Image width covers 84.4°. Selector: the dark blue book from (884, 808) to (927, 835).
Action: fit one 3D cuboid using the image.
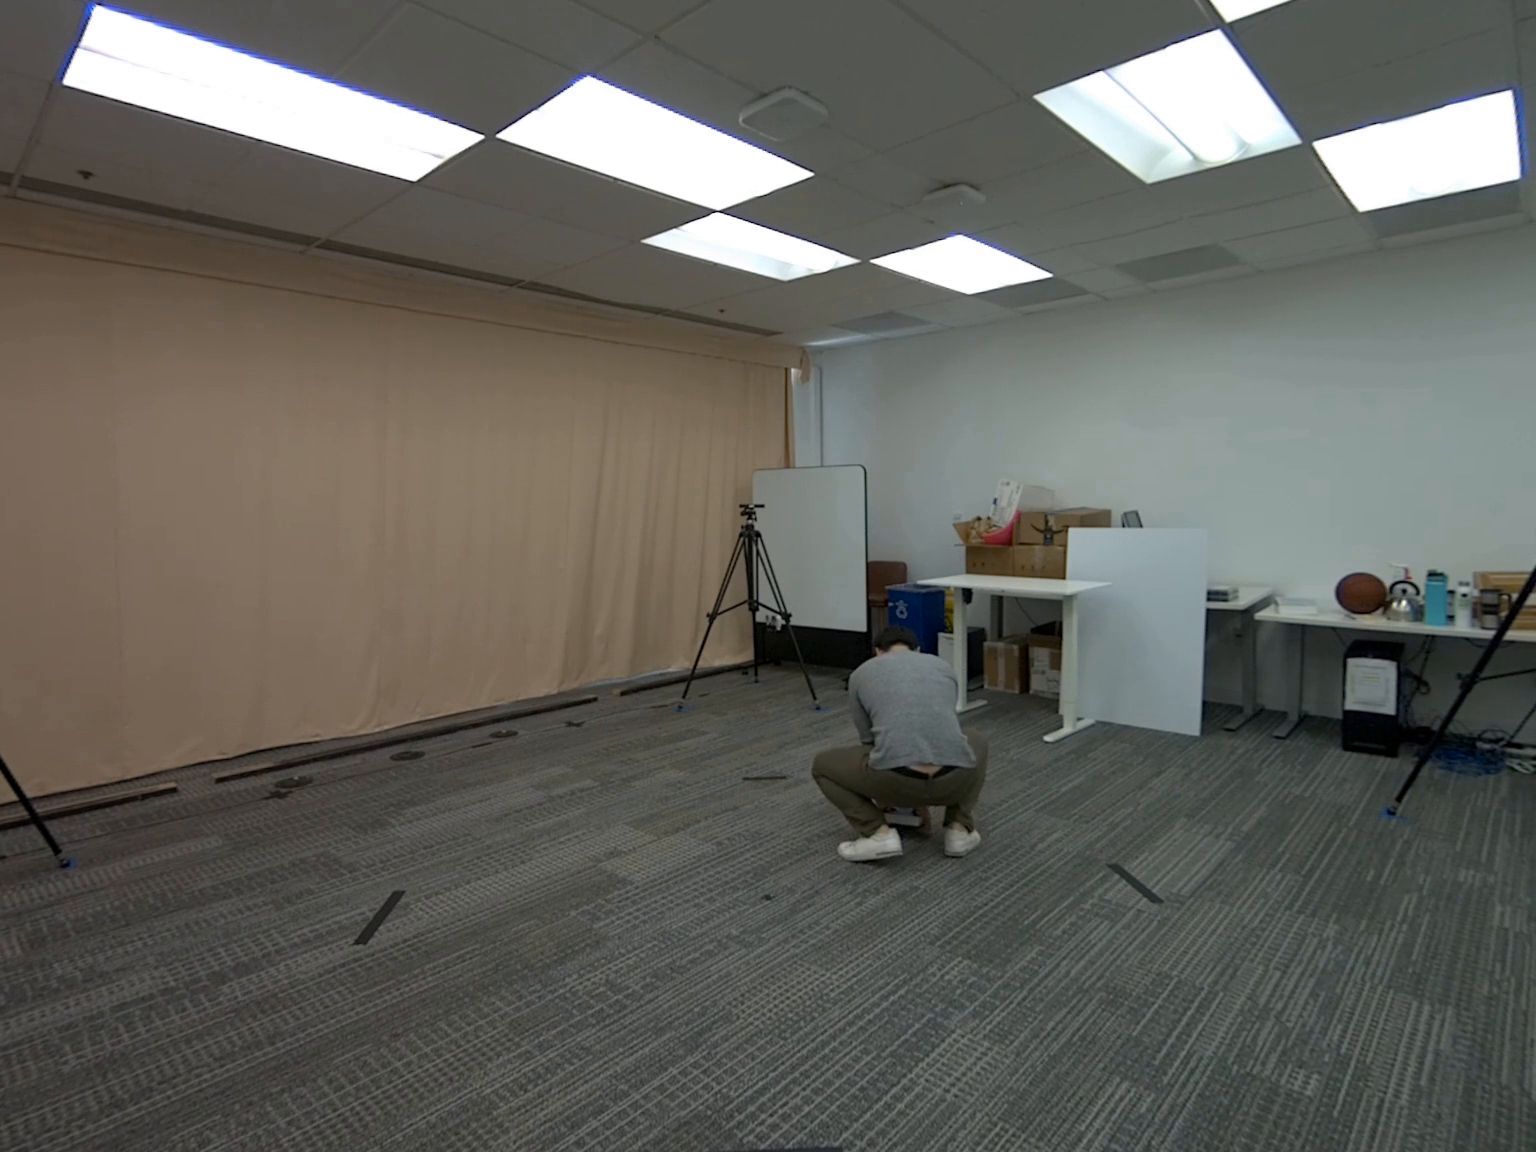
[{"bbox_3d":[0.584,1.033,3.646,0.166,0.045,0.241,3,-4,13],"label":"dark blue book"}]
